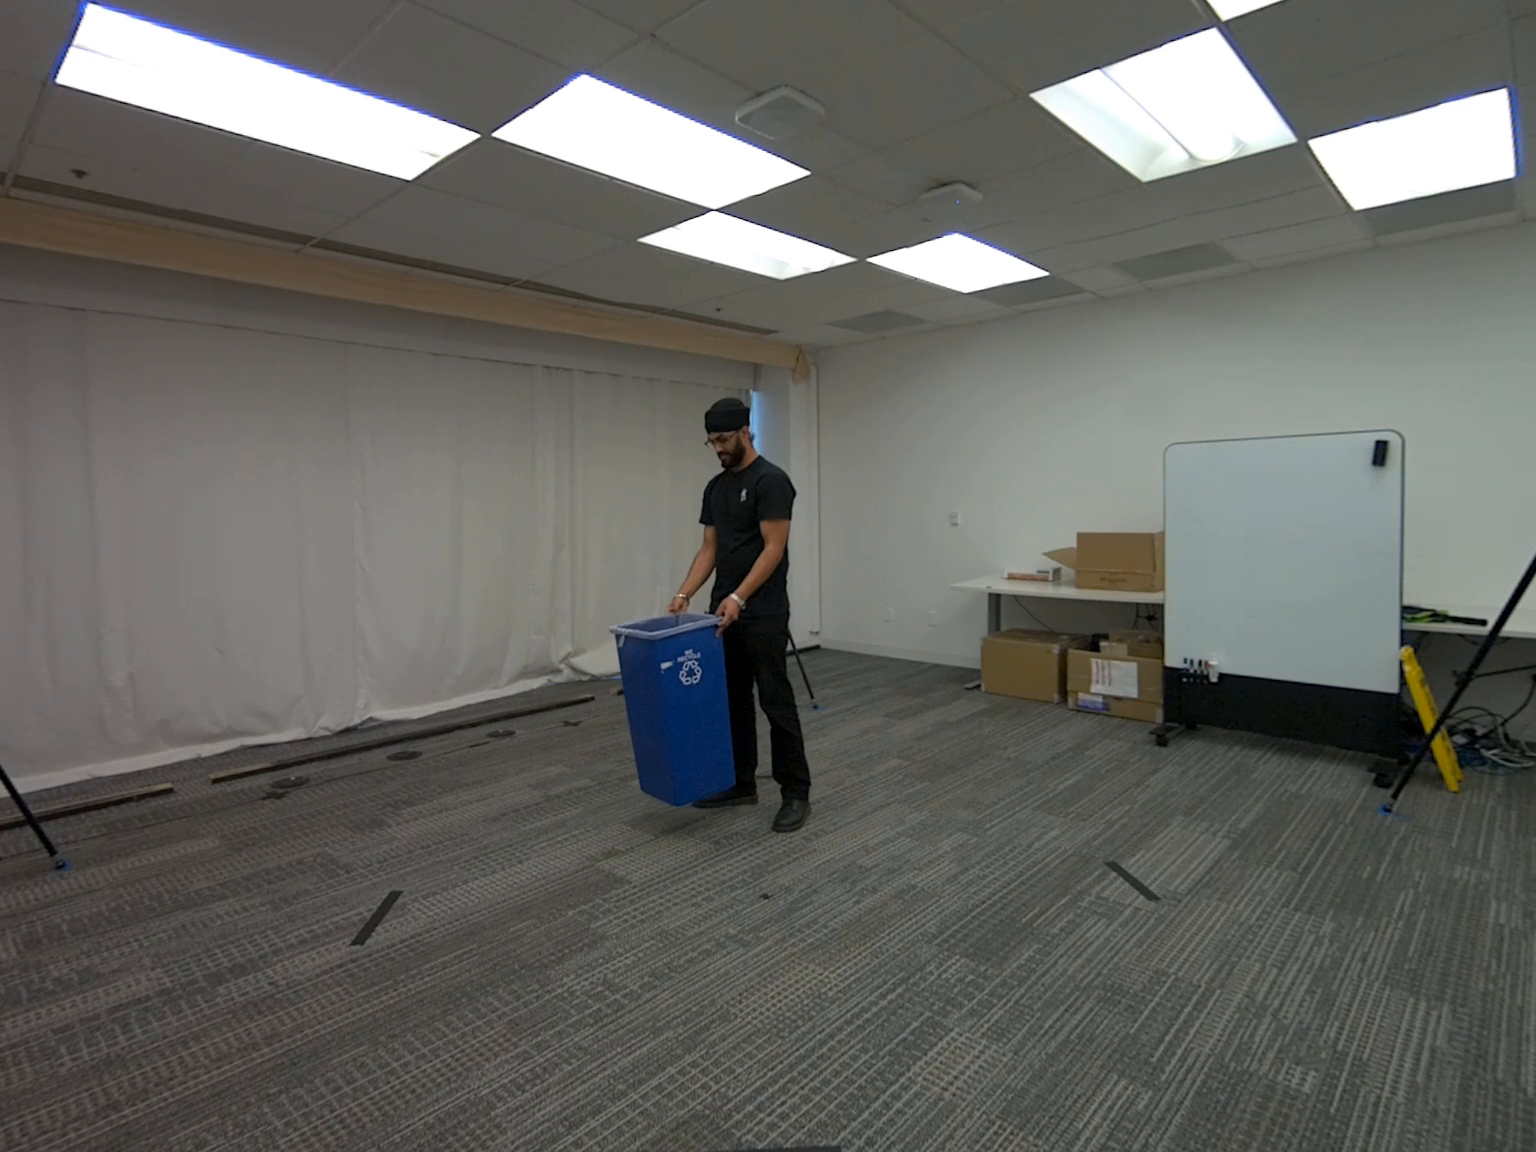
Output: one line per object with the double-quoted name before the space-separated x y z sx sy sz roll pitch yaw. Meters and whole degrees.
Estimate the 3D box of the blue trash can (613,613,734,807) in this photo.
"blue trash can" -0.378 0.544 3.531 0.364 0.710 0.390 -11 7 -37
